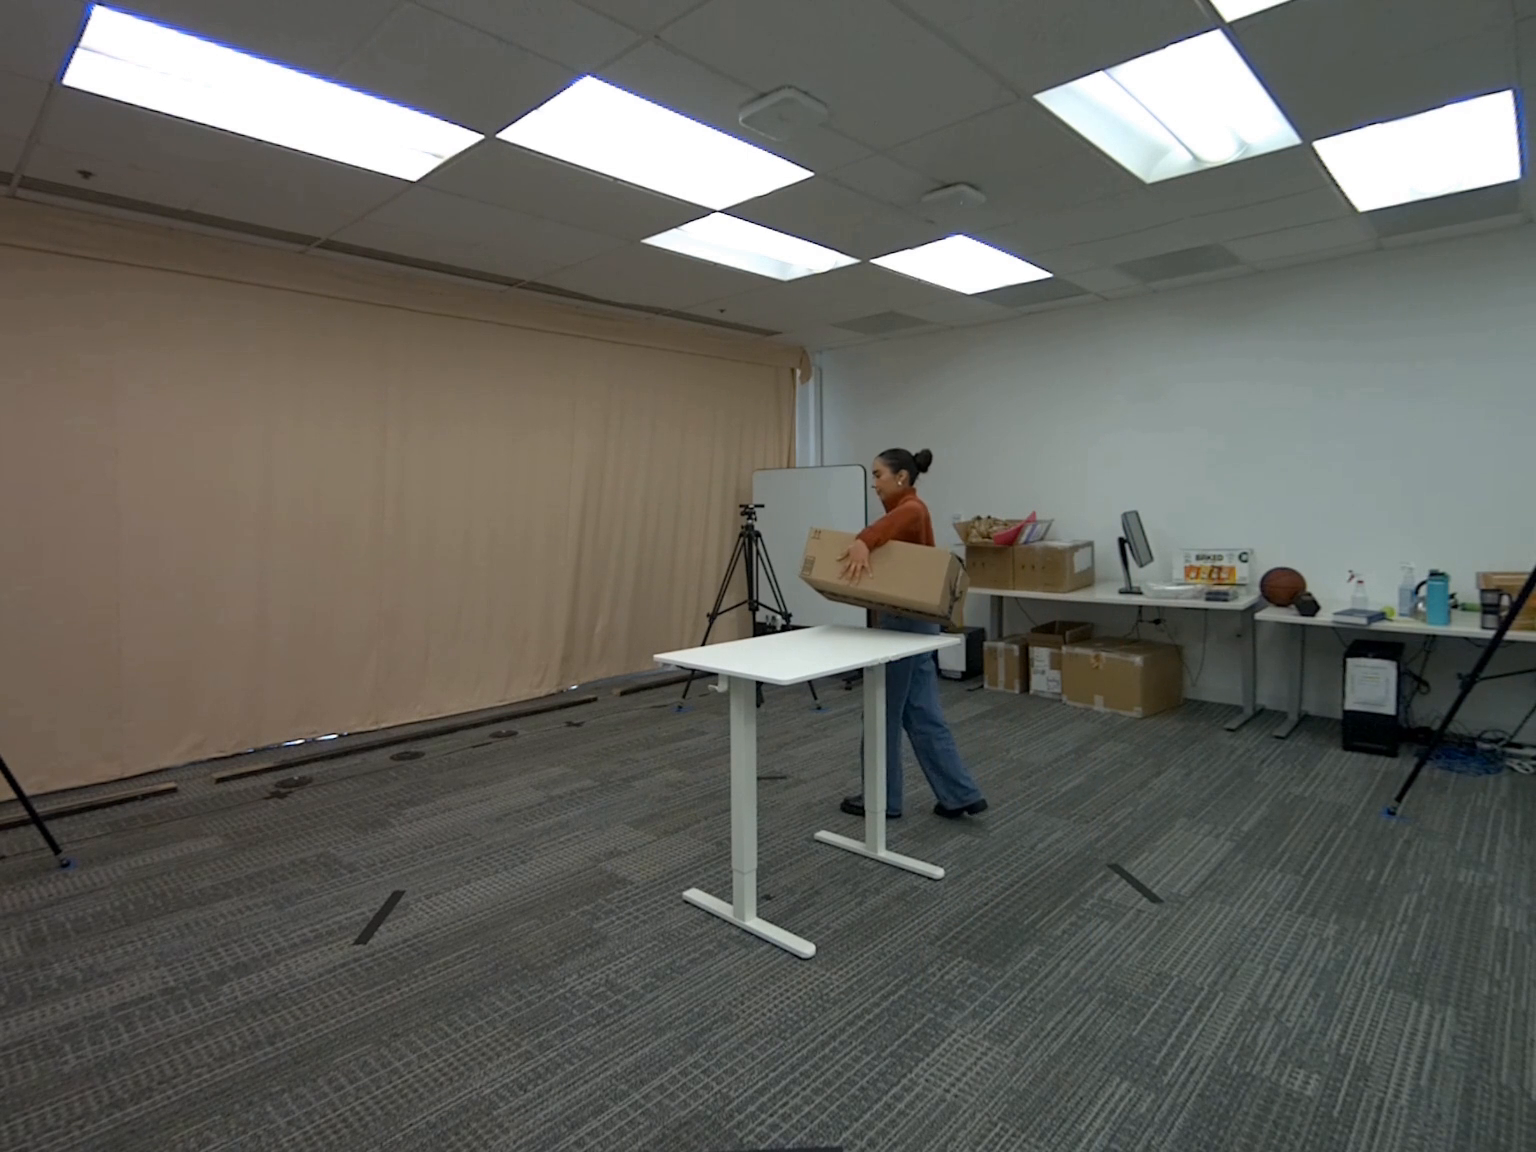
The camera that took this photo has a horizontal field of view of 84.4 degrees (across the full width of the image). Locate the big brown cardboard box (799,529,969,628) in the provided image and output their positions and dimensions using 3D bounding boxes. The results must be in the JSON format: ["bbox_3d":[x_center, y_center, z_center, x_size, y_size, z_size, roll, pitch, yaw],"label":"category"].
[{"bbox_3d":[0.475,0.001,3.392,0.606,0.234,0.405,13,-10,26],"label":"big brown cardboard box"}]
